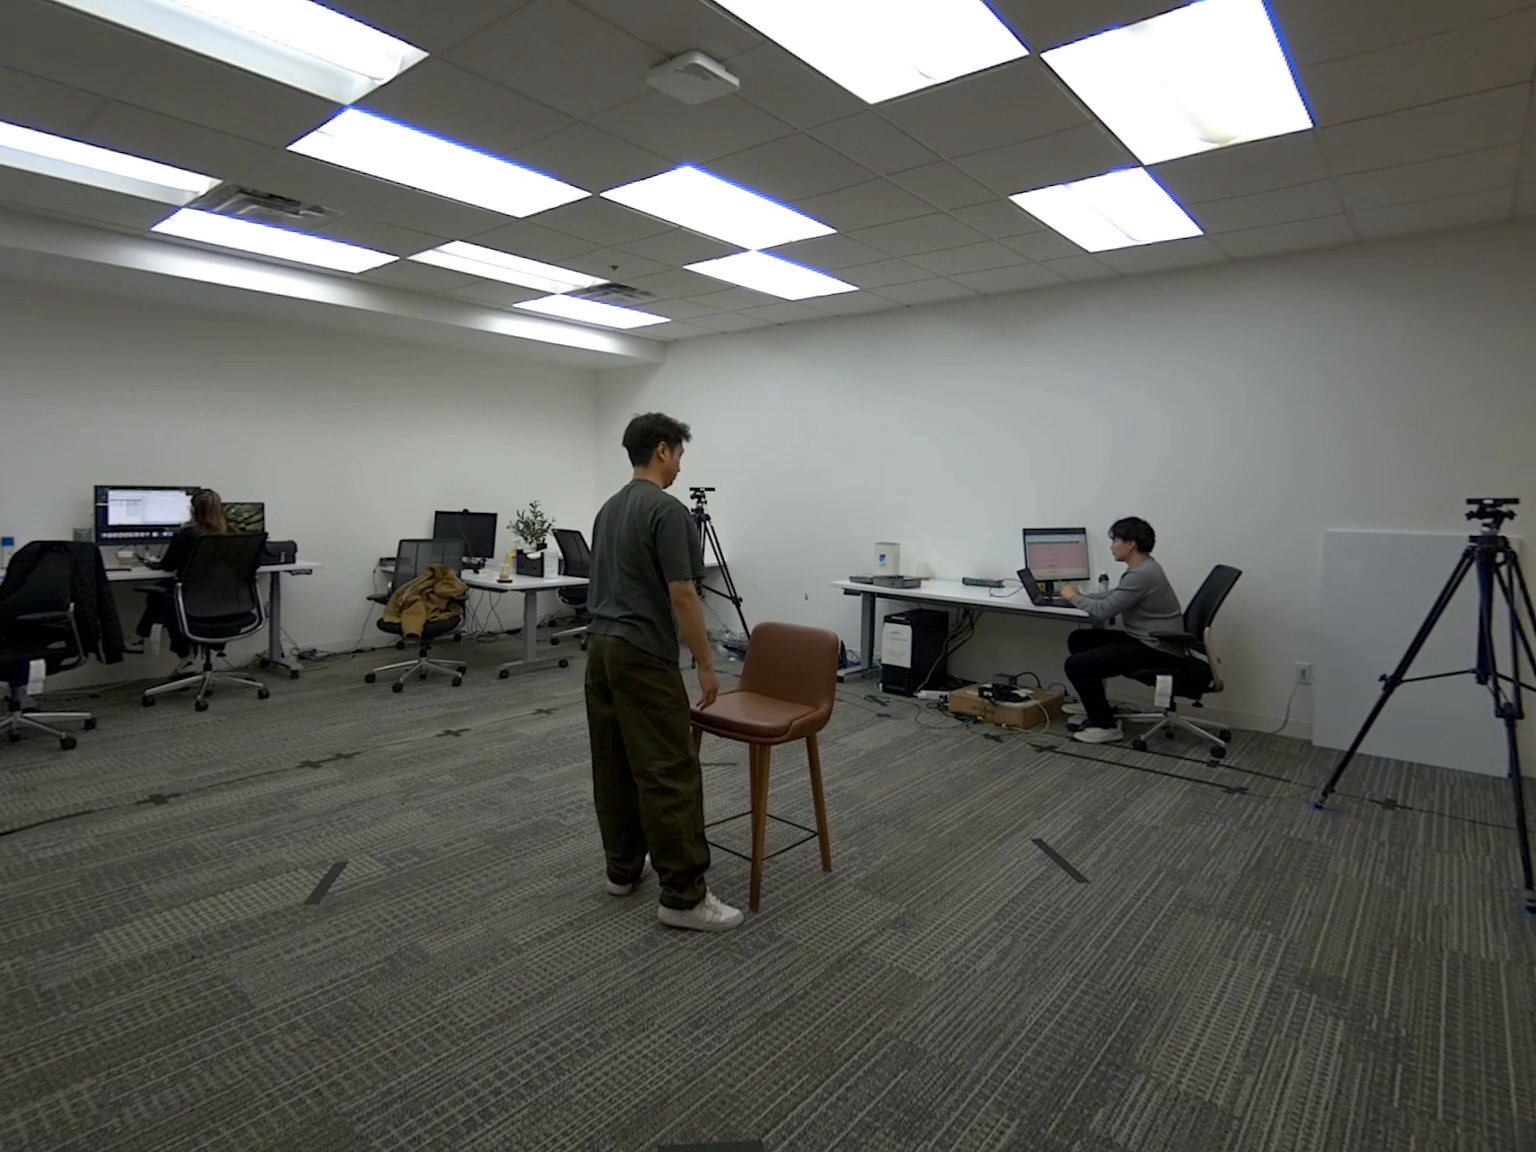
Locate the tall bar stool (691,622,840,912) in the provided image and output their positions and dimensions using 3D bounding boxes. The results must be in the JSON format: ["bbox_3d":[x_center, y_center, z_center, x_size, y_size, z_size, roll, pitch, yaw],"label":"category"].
[{"bbox_3d":[-0.045,0.638,3.077,0.472,0.889,0.453,4,2,42],"label":"tall bar stool"}]
